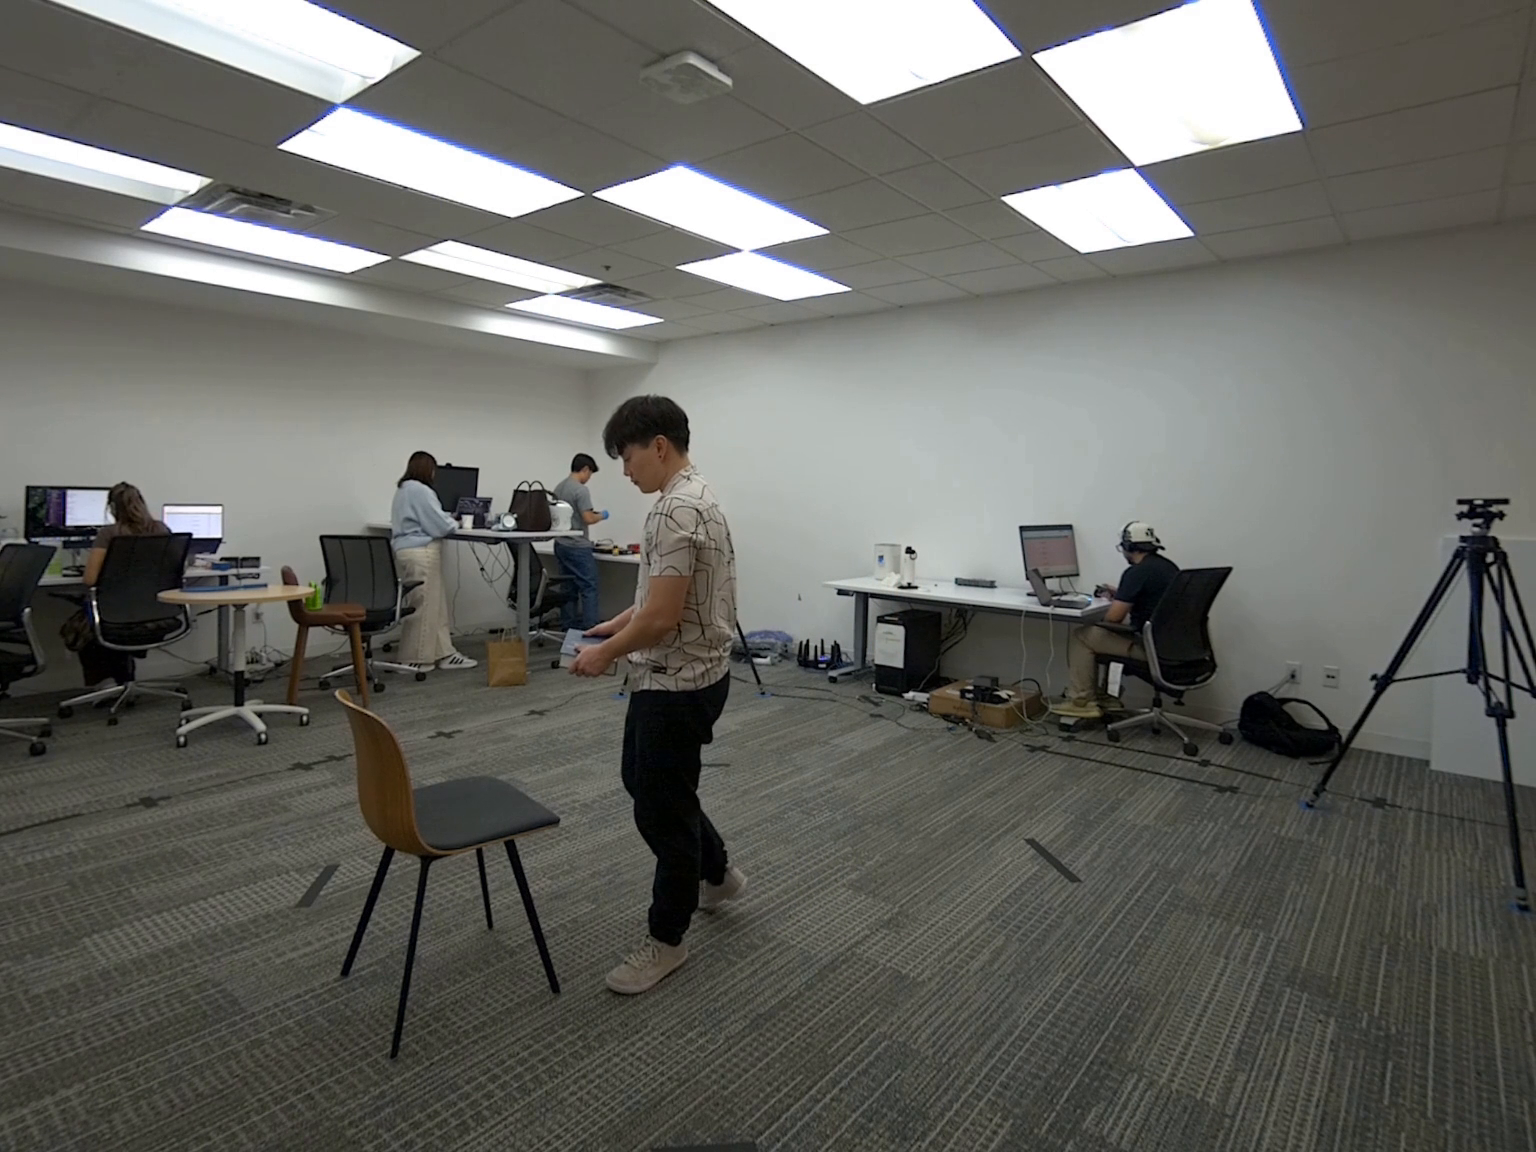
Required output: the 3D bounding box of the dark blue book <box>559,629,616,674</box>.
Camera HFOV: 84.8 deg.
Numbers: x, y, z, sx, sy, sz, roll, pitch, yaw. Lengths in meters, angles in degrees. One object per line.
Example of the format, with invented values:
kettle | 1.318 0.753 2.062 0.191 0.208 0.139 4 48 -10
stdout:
dark blue book | -0.542 0.219 2.511 0.163 0.045 0.247 11 11 -1
